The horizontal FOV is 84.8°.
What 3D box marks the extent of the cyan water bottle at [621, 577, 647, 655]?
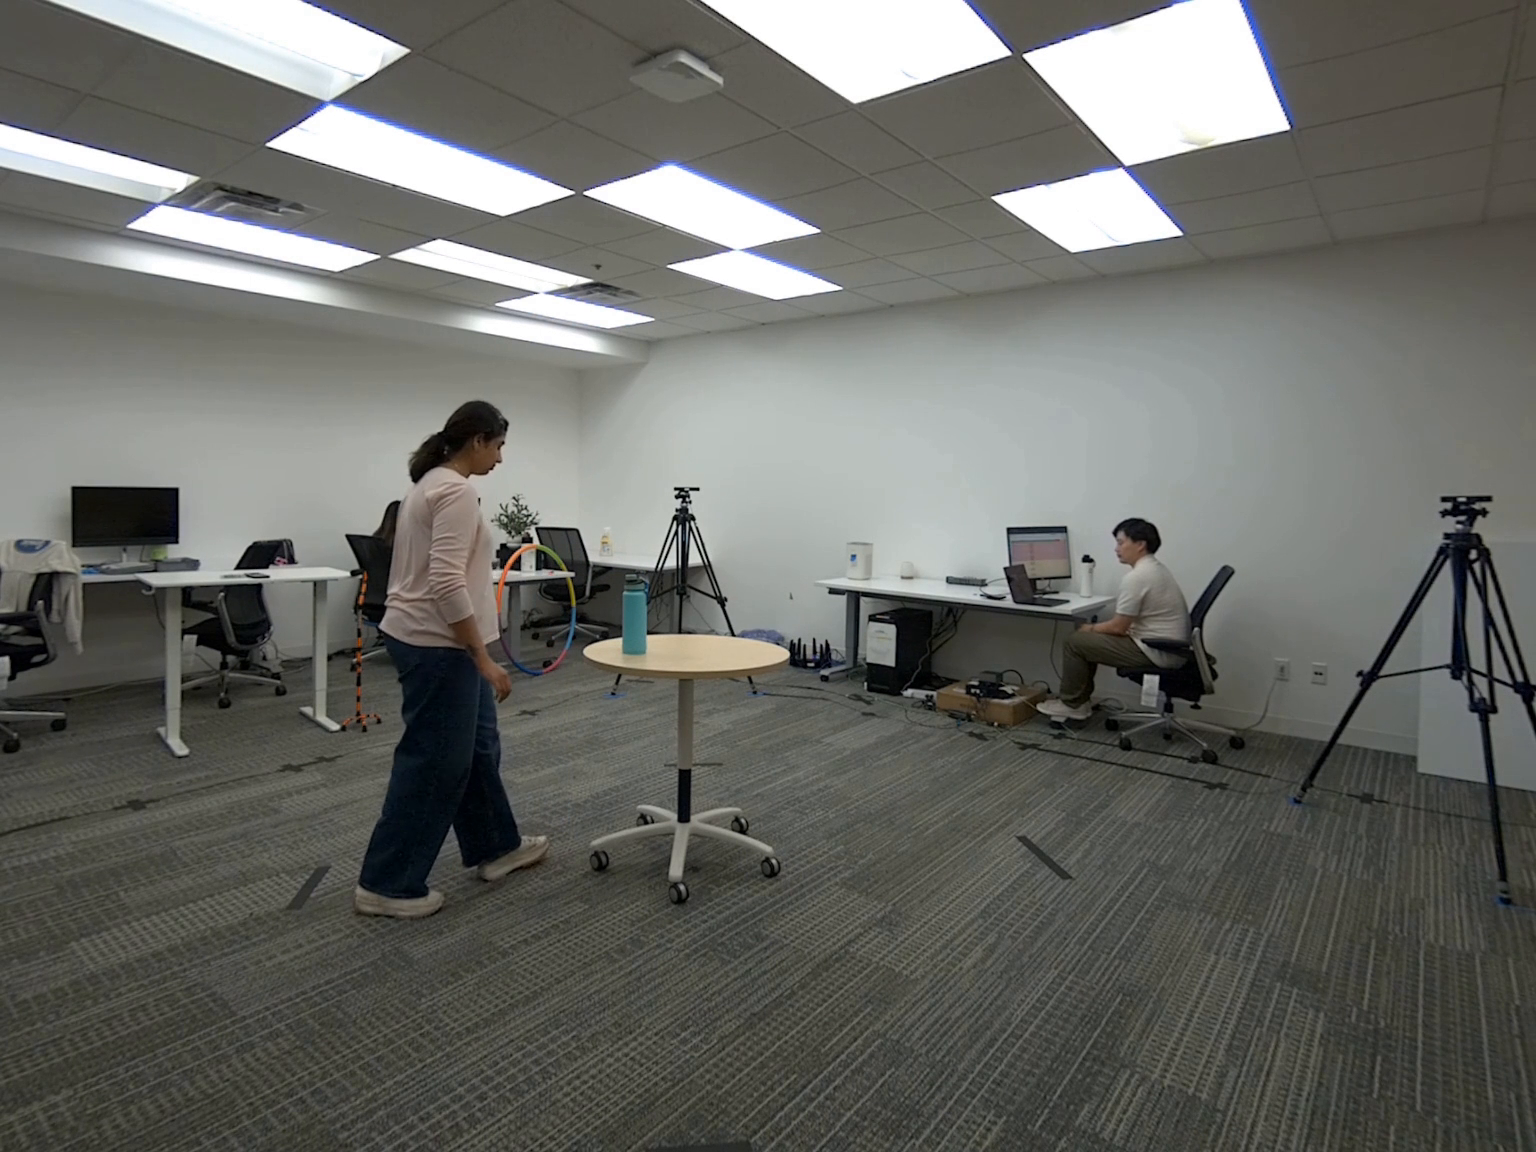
[{"bbox_3d":[-0.502,0.141,3.103,0.092,0.283,0.092,1,2,-2],"label":"cyan water bottle"}]
